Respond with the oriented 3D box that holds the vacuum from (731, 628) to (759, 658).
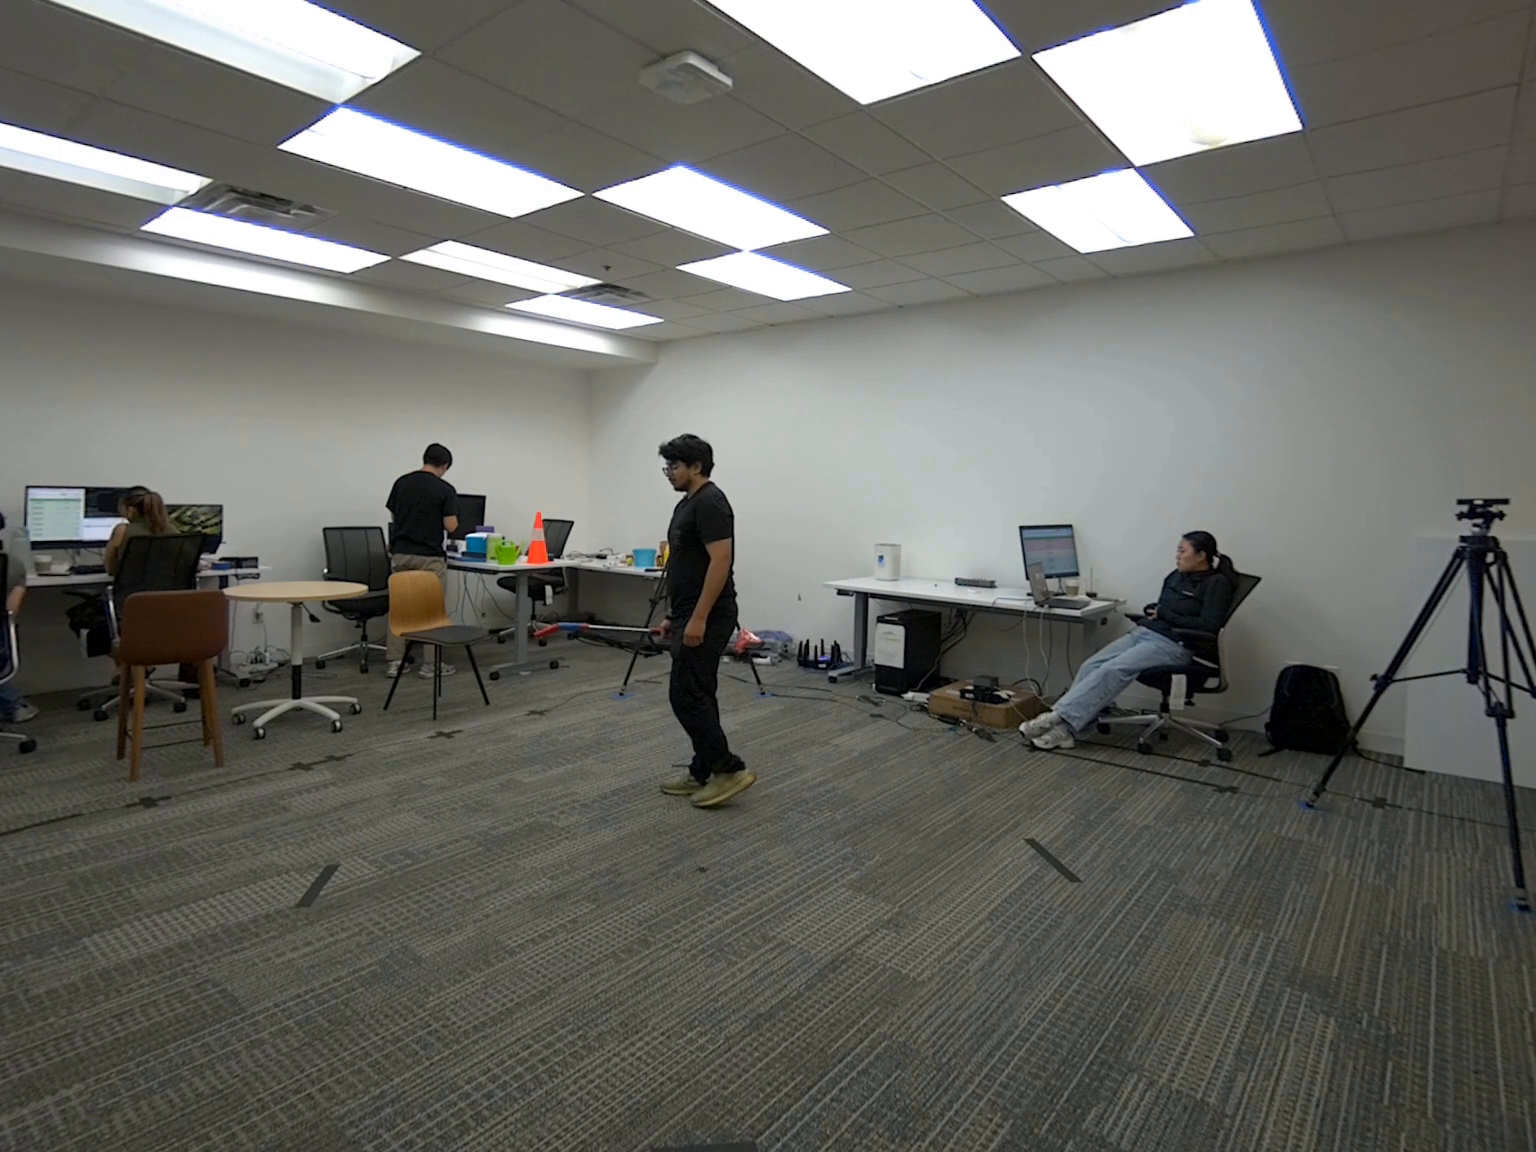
[{"bbox_3d":[-0.615,0.298,3.989,1.022,0.142,0.262,5,16,-25],"label":"vacuum"}]
